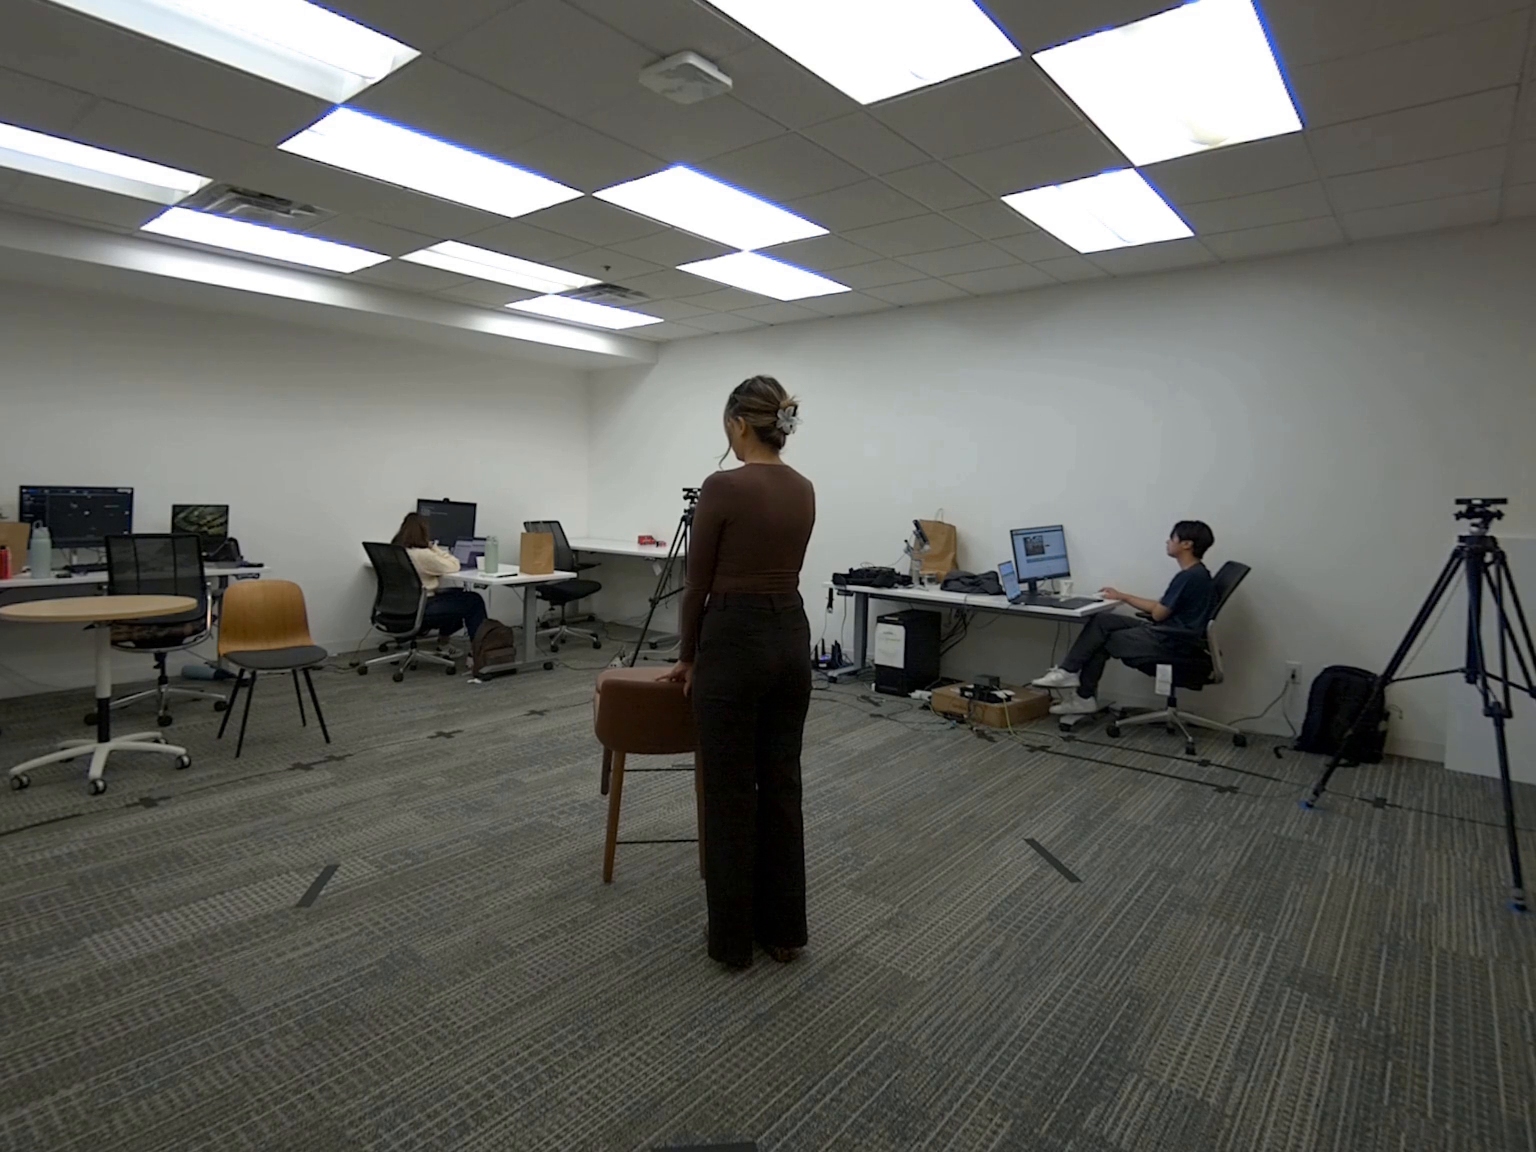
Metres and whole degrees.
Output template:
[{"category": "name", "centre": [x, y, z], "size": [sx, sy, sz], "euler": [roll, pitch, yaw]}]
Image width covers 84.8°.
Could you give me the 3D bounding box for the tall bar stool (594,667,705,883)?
[{"category": "tall bar stool", "centre": [-0.403, 0.593, 3.012], "size": [0.453, 0.871, 0.482], "euler": [1, 29, -9]}]
